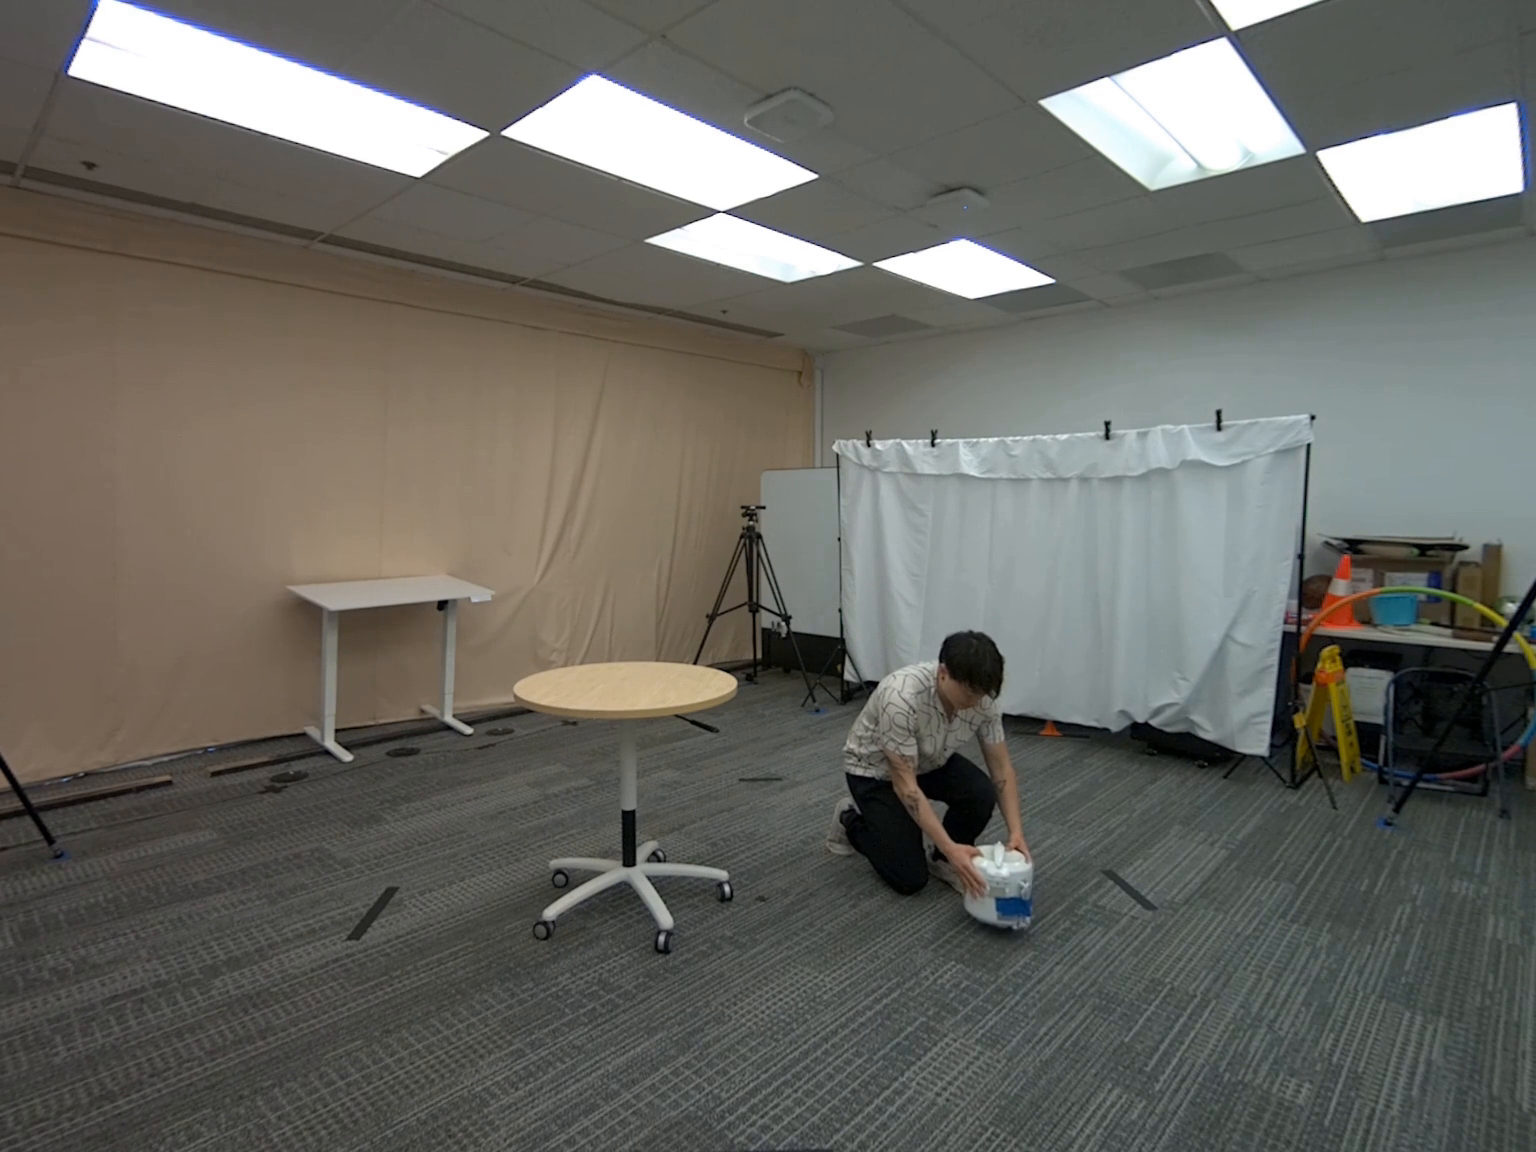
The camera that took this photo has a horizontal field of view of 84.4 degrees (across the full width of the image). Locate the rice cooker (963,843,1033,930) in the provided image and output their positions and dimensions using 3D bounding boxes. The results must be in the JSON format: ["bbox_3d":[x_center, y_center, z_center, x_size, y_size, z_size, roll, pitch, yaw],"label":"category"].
[{"bbox_3d":[0.757,1.000,2.767,0.222,0.232,0.216,3,2,18],"label":"rice cooker"}]
